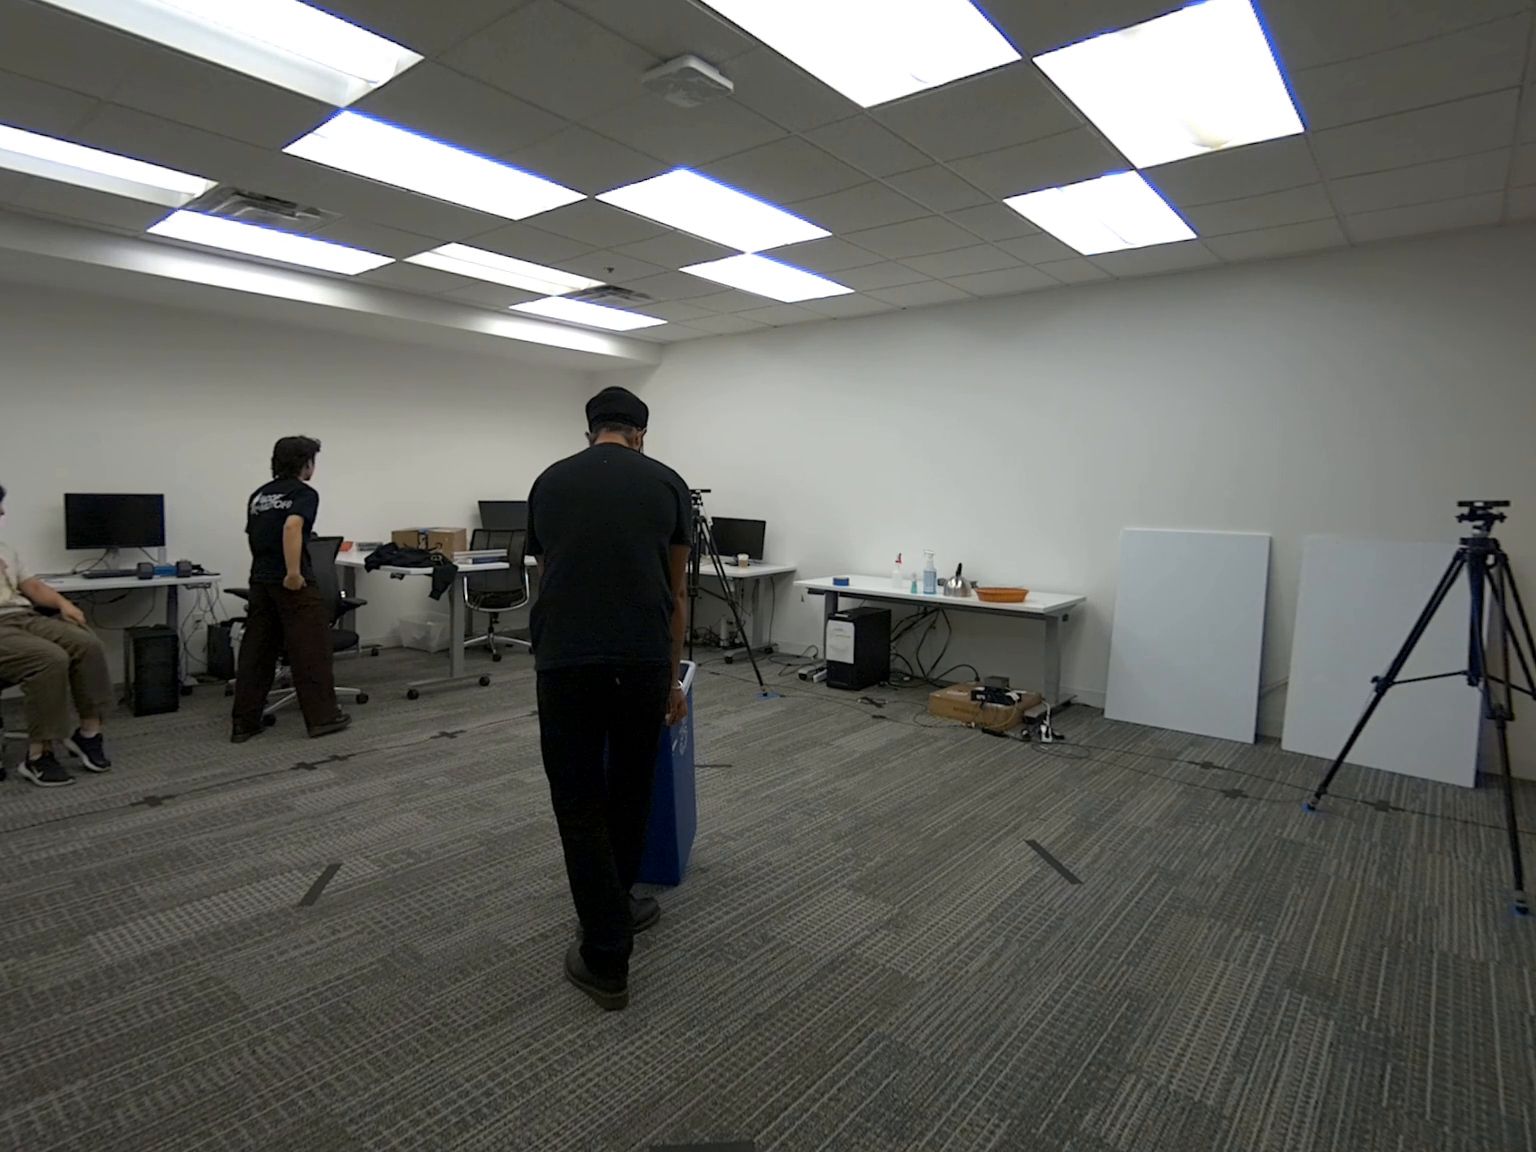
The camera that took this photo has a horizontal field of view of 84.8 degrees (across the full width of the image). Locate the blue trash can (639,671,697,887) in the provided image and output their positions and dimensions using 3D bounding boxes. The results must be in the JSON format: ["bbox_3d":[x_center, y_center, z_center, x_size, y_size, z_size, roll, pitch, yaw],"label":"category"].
[{"bbox_3d":[-0.449,0.694,2.996,0.382,0.700,0.378,1,21,8],"label":"blue trash can"}]
